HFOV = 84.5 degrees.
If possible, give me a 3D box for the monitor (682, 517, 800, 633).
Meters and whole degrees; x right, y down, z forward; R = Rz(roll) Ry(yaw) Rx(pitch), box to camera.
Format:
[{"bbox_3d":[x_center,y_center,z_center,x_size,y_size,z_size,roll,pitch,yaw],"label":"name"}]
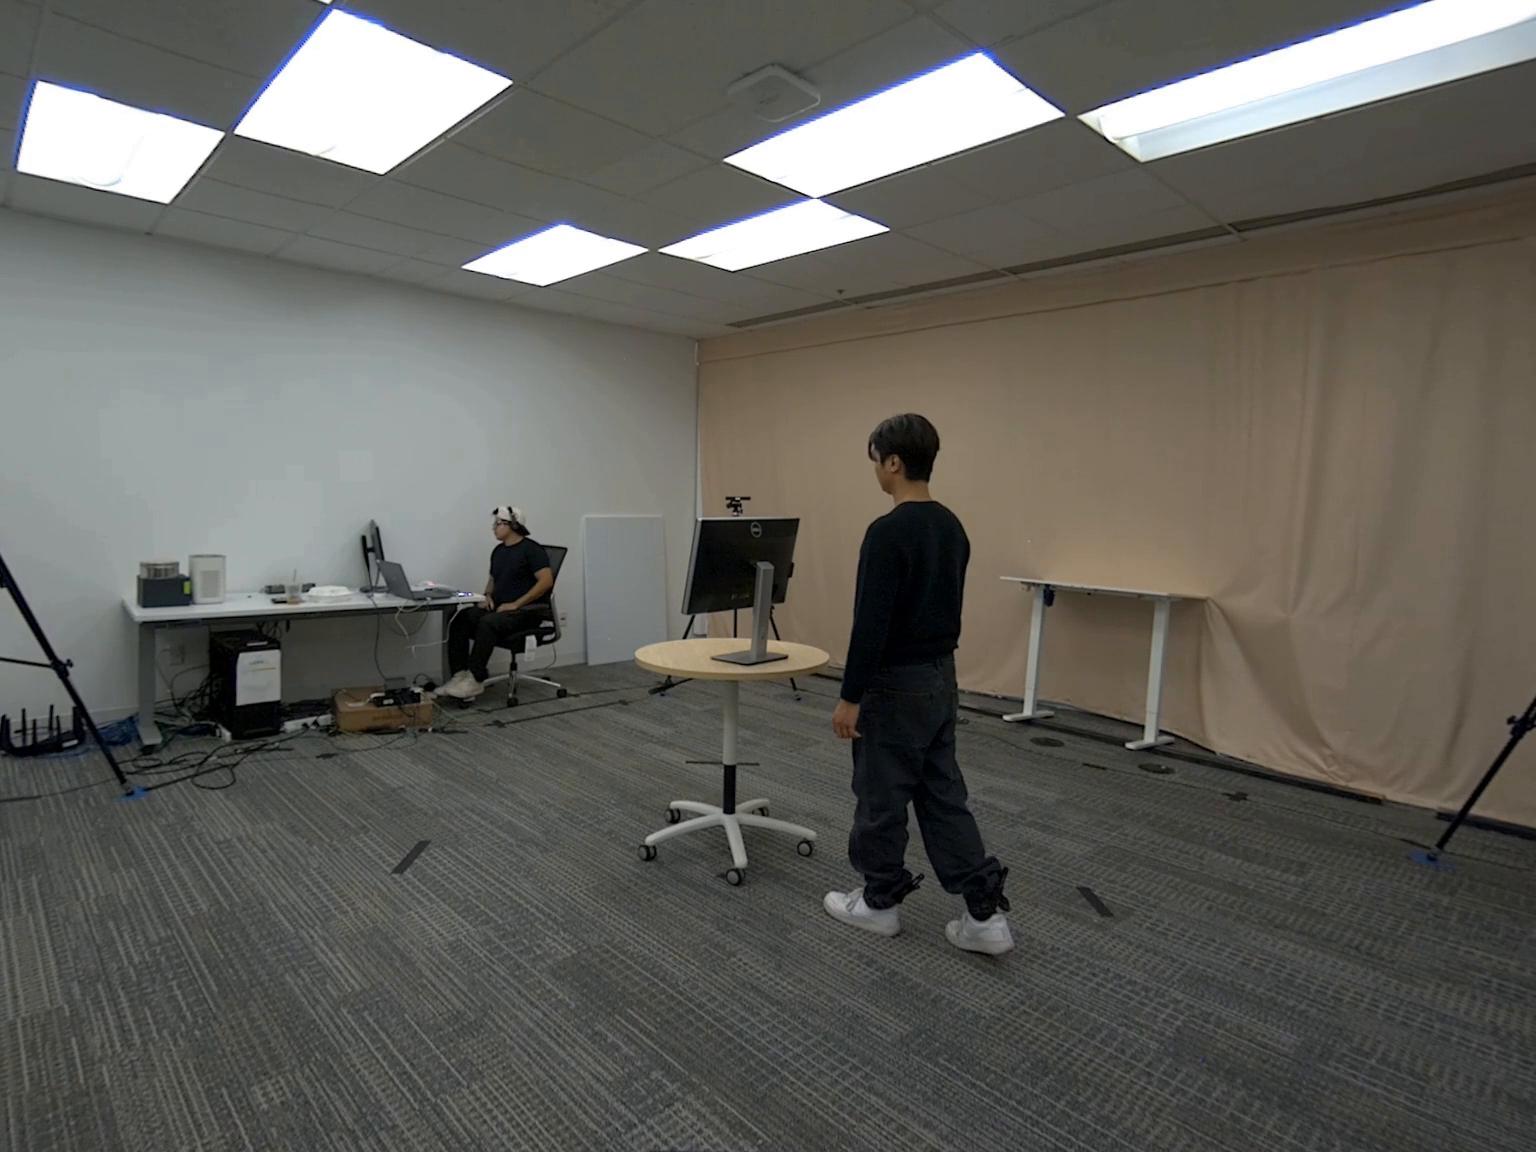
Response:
[{"bbox_3d":[-0.073,0.053,3.206,0.191,0.522,0.527,2,3,40],"label":"monitor"}]
